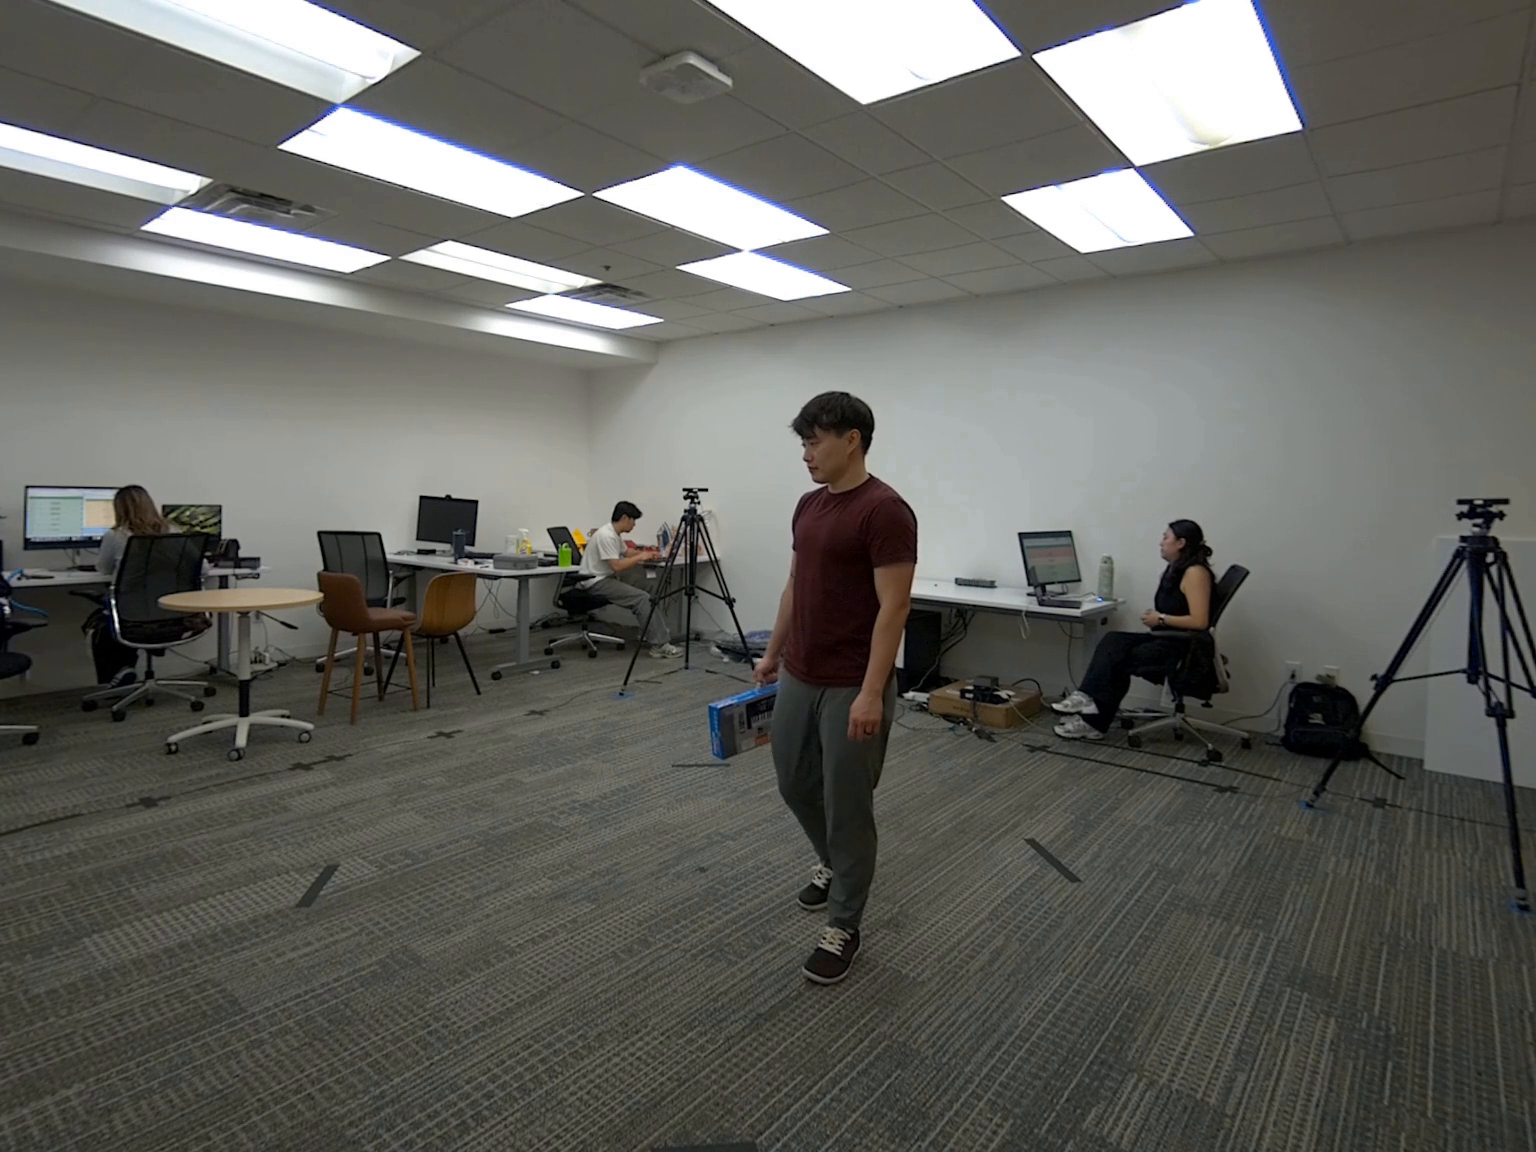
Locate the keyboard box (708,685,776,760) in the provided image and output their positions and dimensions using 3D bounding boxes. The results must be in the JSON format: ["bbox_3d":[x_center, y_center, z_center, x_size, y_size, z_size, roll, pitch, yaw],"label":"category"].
[{"bbox_3d":[-0.002,0.449,2.794,0.427,0.174,0.061,-13,11,-34],"label":"keyboard box"}]
